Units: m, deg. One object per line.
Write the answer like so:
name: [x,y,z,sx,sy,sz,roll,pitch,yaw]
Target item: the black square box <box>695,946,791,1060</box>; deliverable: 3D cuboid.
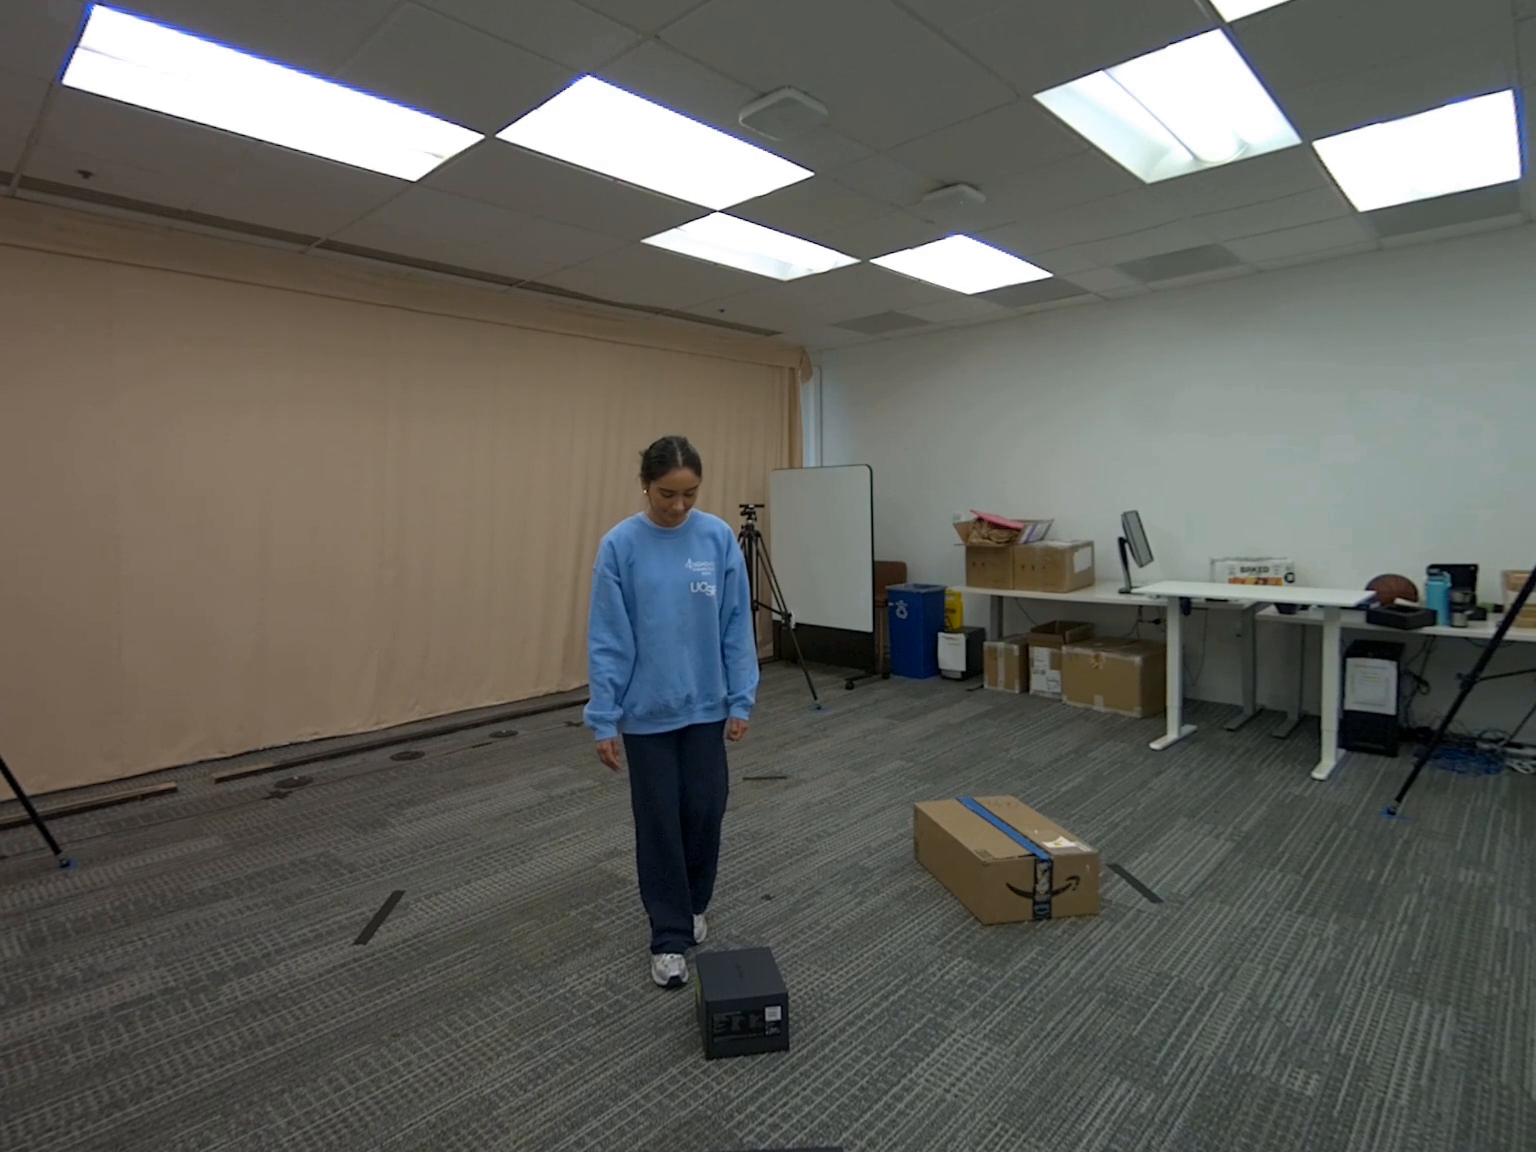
black square box: [-0.070,1.123,2.227,0.215,0.155,0.231,-1,4,-11]
